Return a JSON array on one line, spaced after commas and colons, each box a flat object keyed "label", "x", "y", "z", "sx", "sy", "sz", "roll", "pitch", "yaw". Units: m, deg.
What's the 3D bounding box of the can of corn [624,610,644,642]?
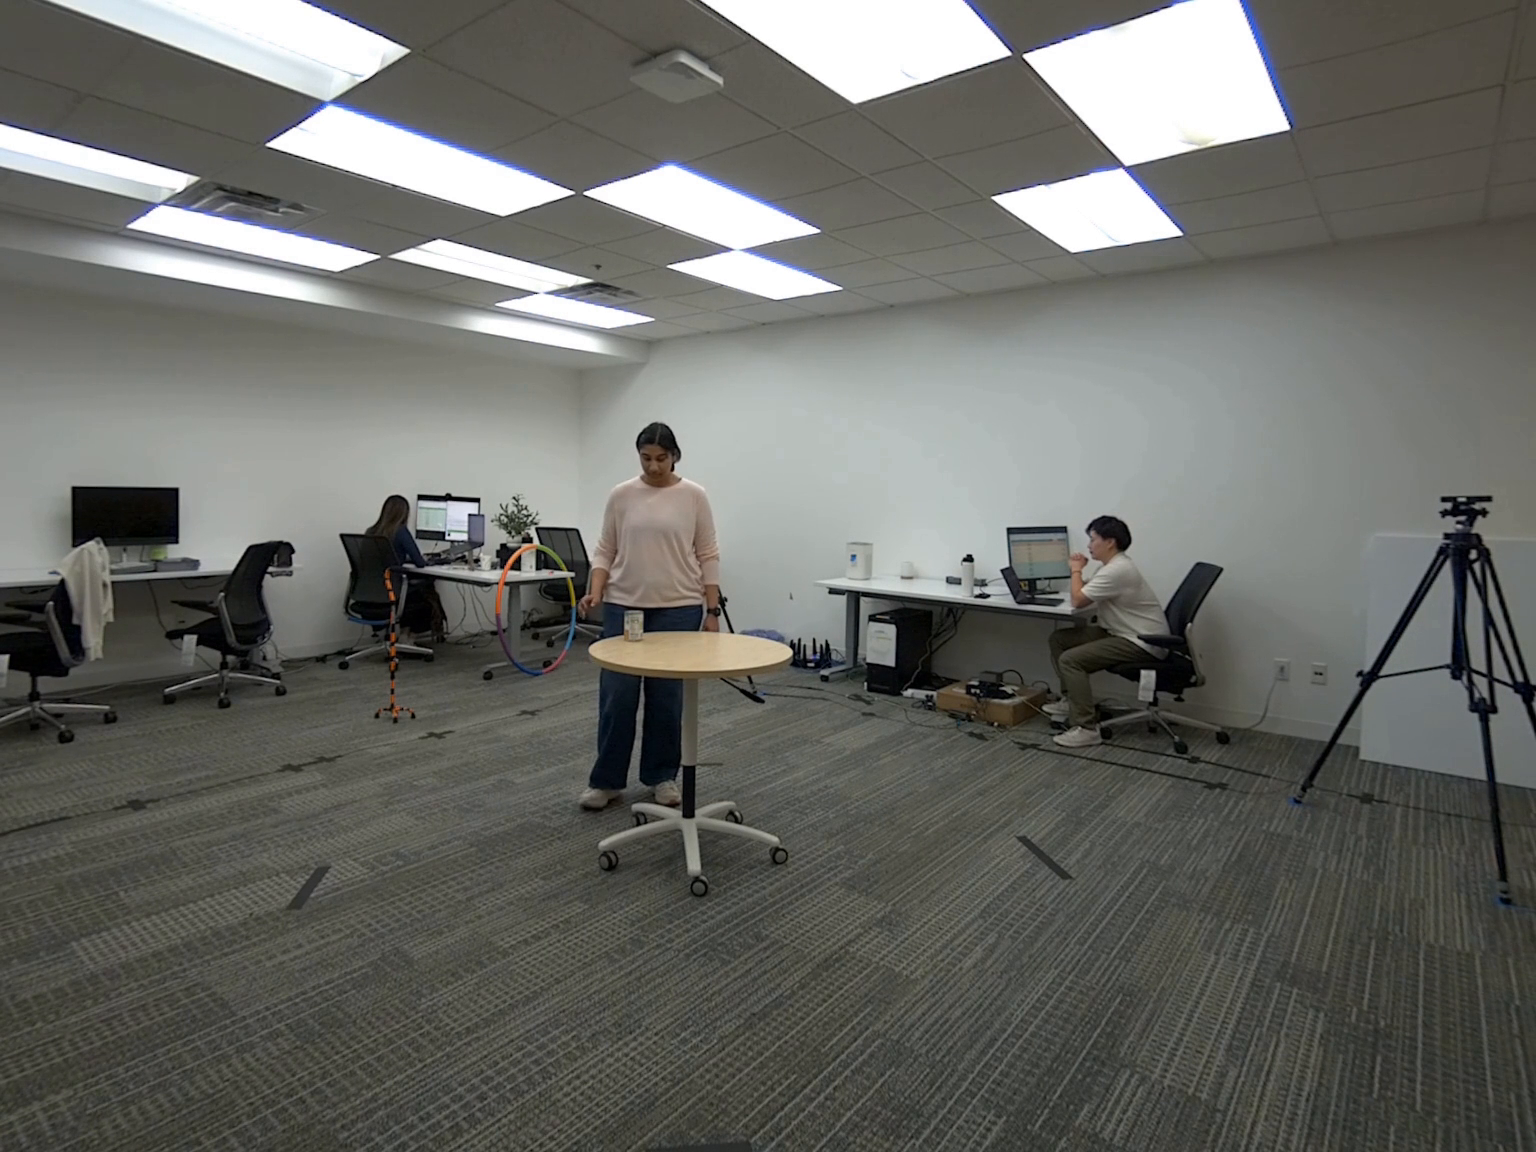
[{"label": "can of corn", "x": -0.552, "y": 0.193, "z": 3.354, "sx": 0.074, "sy": 0.110, "sz": 0.074, "roll": 2, "pitch": 4, "yaw": -2}]
